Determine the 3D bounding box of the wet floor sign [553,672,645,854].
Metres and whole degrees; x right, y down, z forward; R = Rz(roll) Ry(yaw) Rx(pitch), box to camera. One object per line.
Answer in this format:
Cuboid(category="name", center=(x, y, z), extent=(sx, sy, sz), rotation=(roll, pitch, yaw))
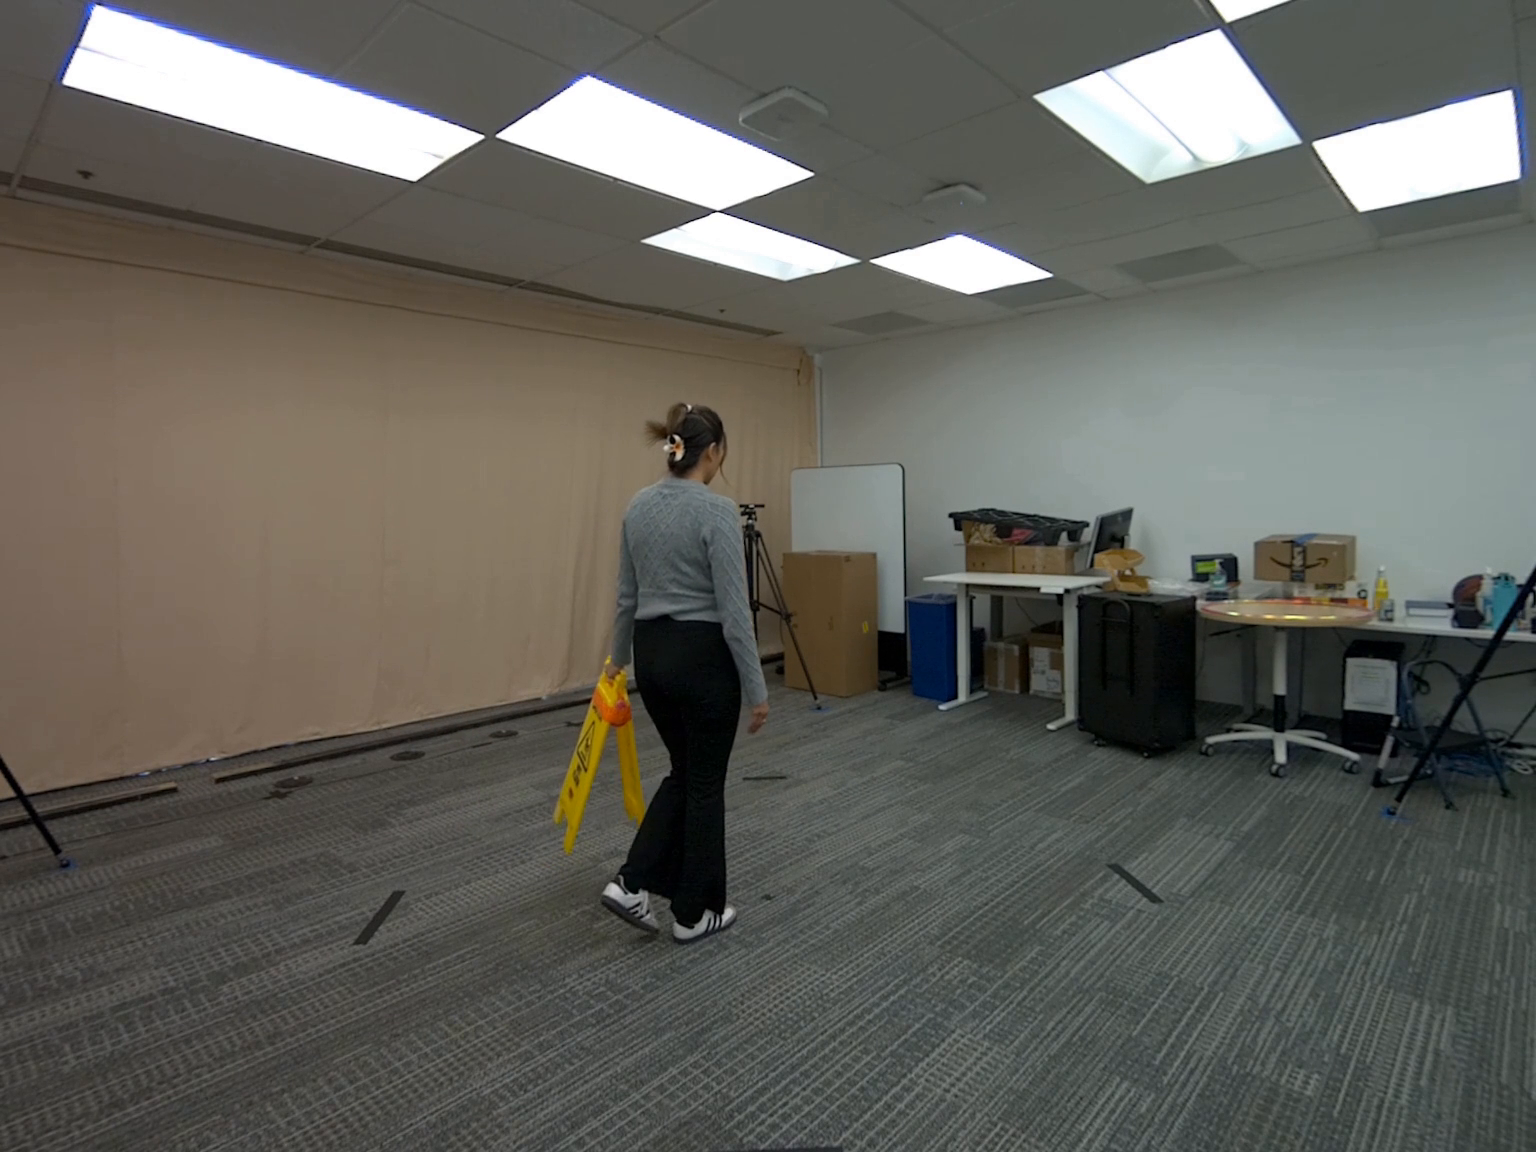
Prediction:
Cuboid(category="wet floor sign", center=(-0.571, 0.623, 3.018), extent=(0.283, 0.643, 0.290), rotation=(4, 11, -24))
